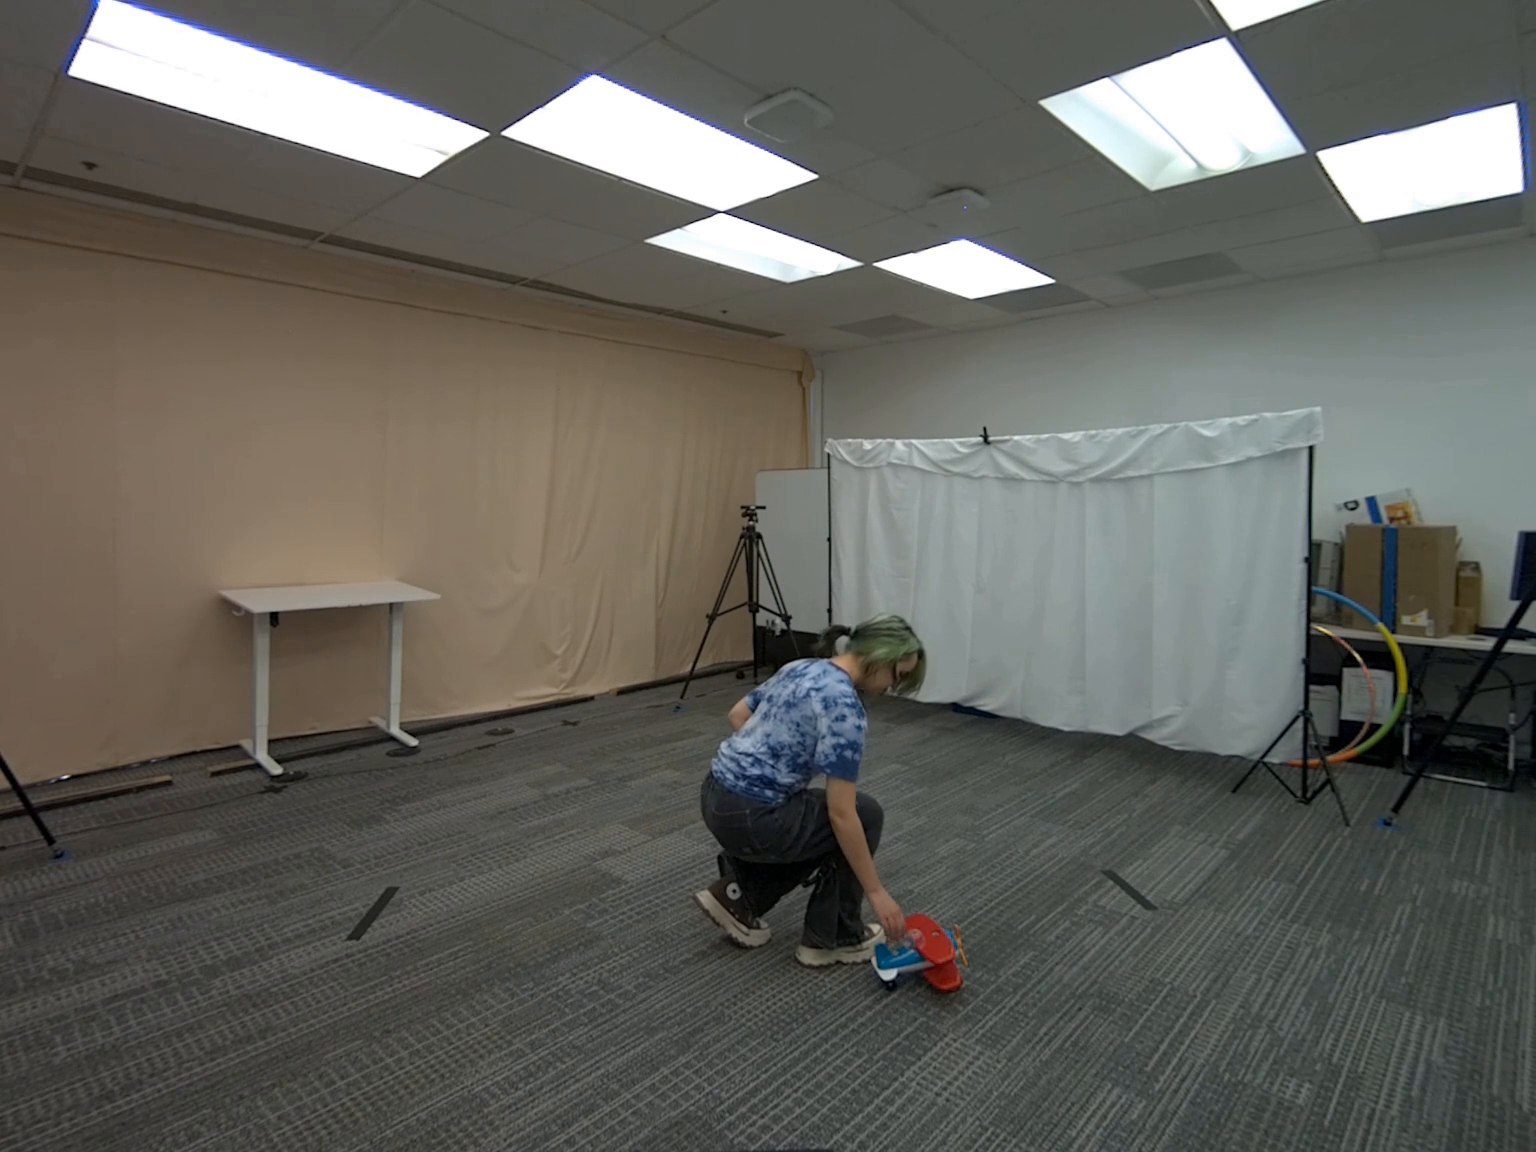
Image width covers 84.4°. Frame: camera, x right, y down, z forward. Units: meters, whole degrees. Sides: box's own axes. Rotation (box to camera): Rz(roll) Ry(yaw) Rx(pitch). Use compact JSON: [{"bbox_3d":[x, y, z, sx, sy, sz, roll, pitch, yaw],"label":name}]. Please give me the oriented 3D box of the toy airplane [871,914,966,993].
[{"bbox_3d":[0.449,1.119,2.428,0.251,0.156,0.259,-3,6,-37],"label":"toy airplane"}]
